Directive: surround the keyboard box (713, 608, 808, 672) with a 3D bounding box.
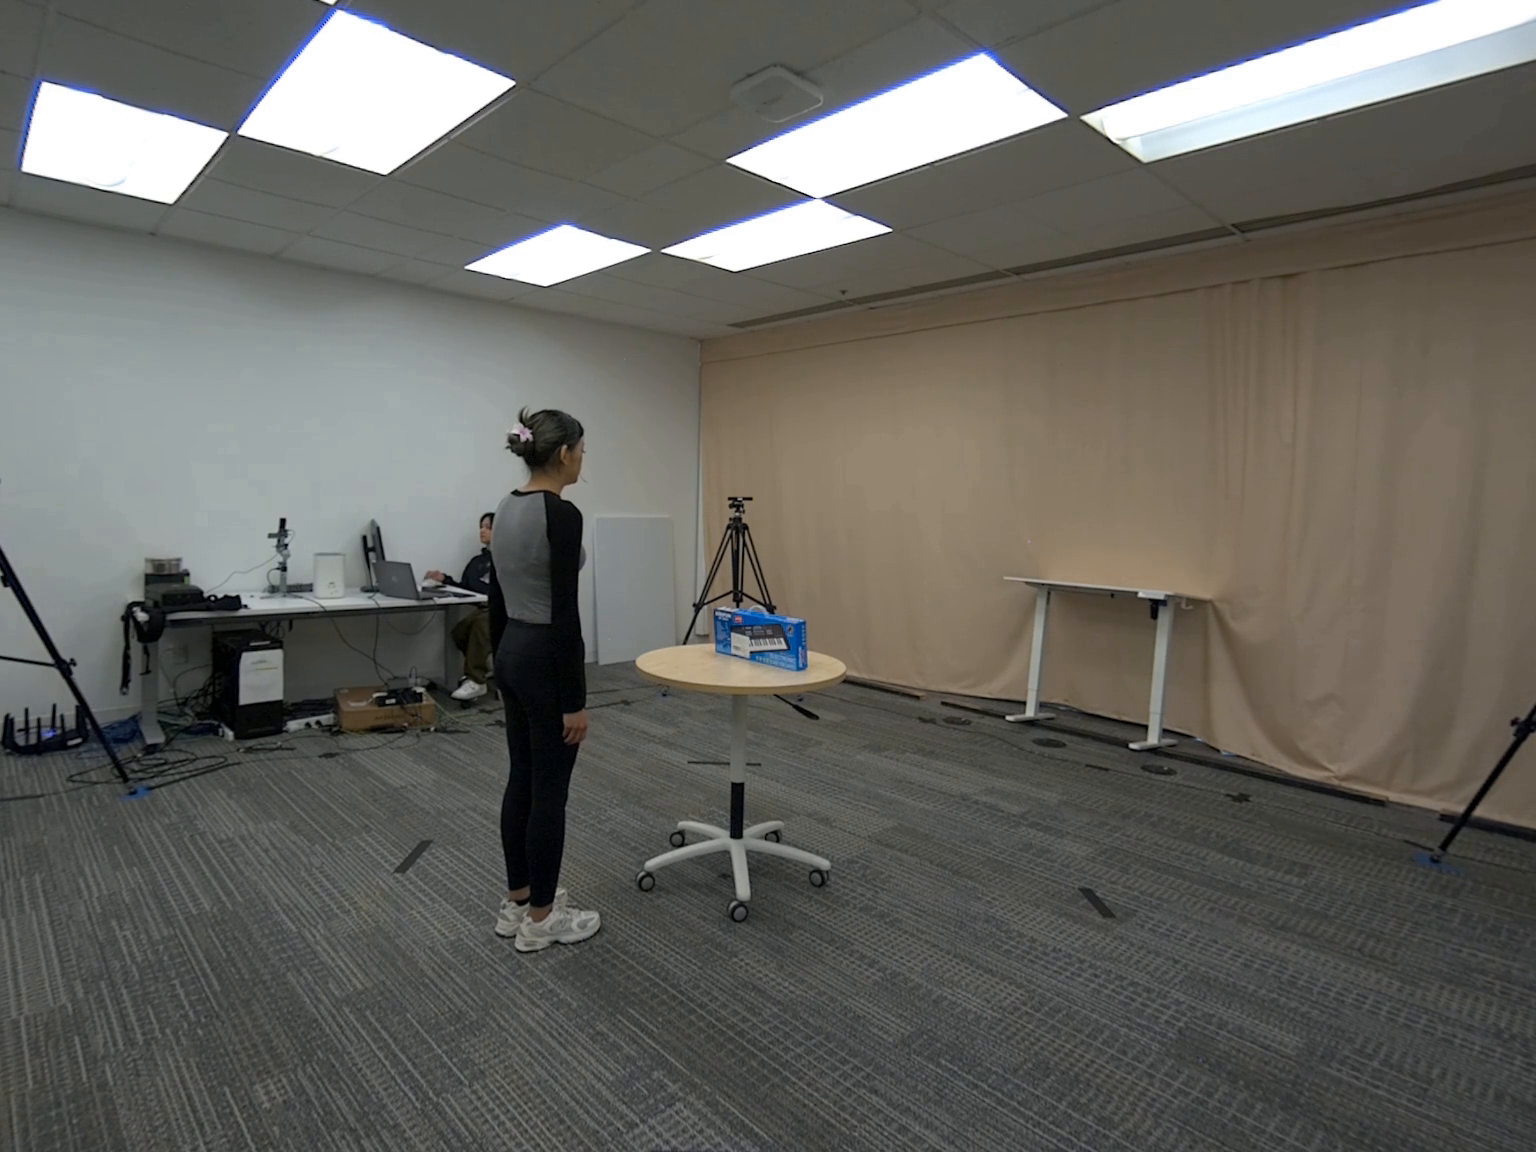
[{"bbox_3d":[-0.041,0.229,3.119,0.058,0.175,0.448,-8,10,-43],"label":"keyboard box"}]
